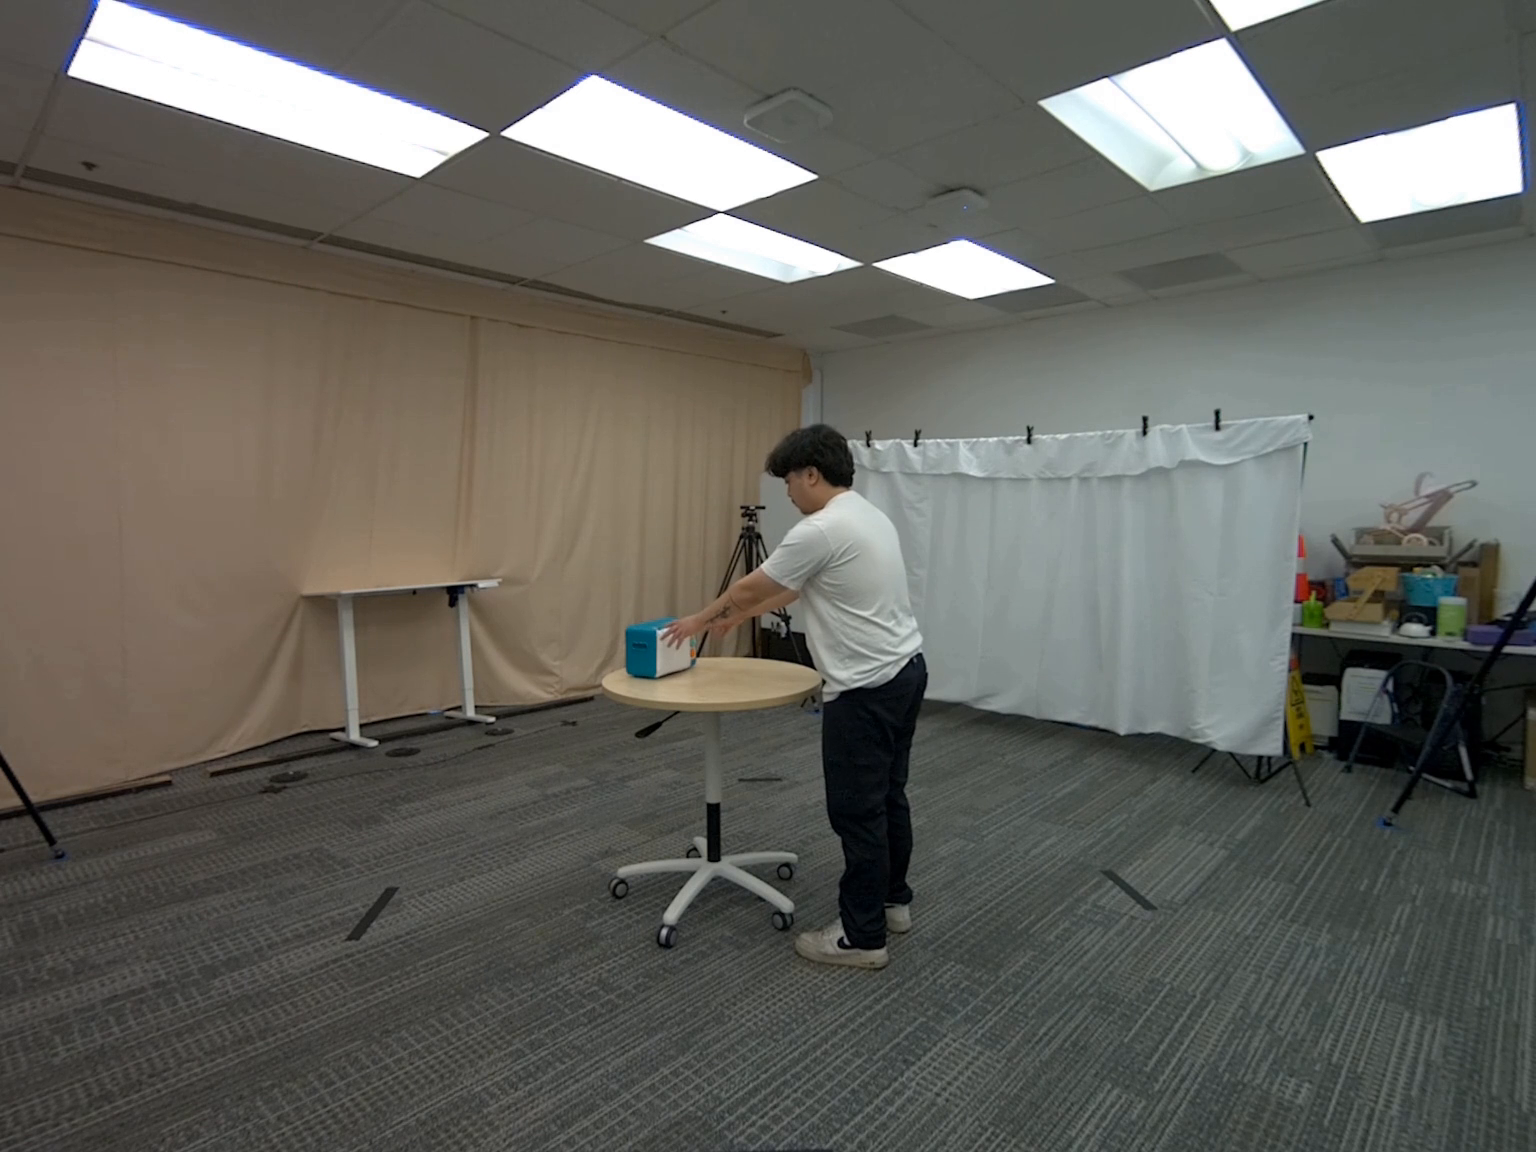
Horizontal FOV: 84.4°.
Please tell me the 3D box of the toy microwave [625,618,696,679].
[{"bbox_3d":[-0.376,0.258,3.045,0.157,0.184,0.279,2,5,29],"label":"toy microwave"}]
